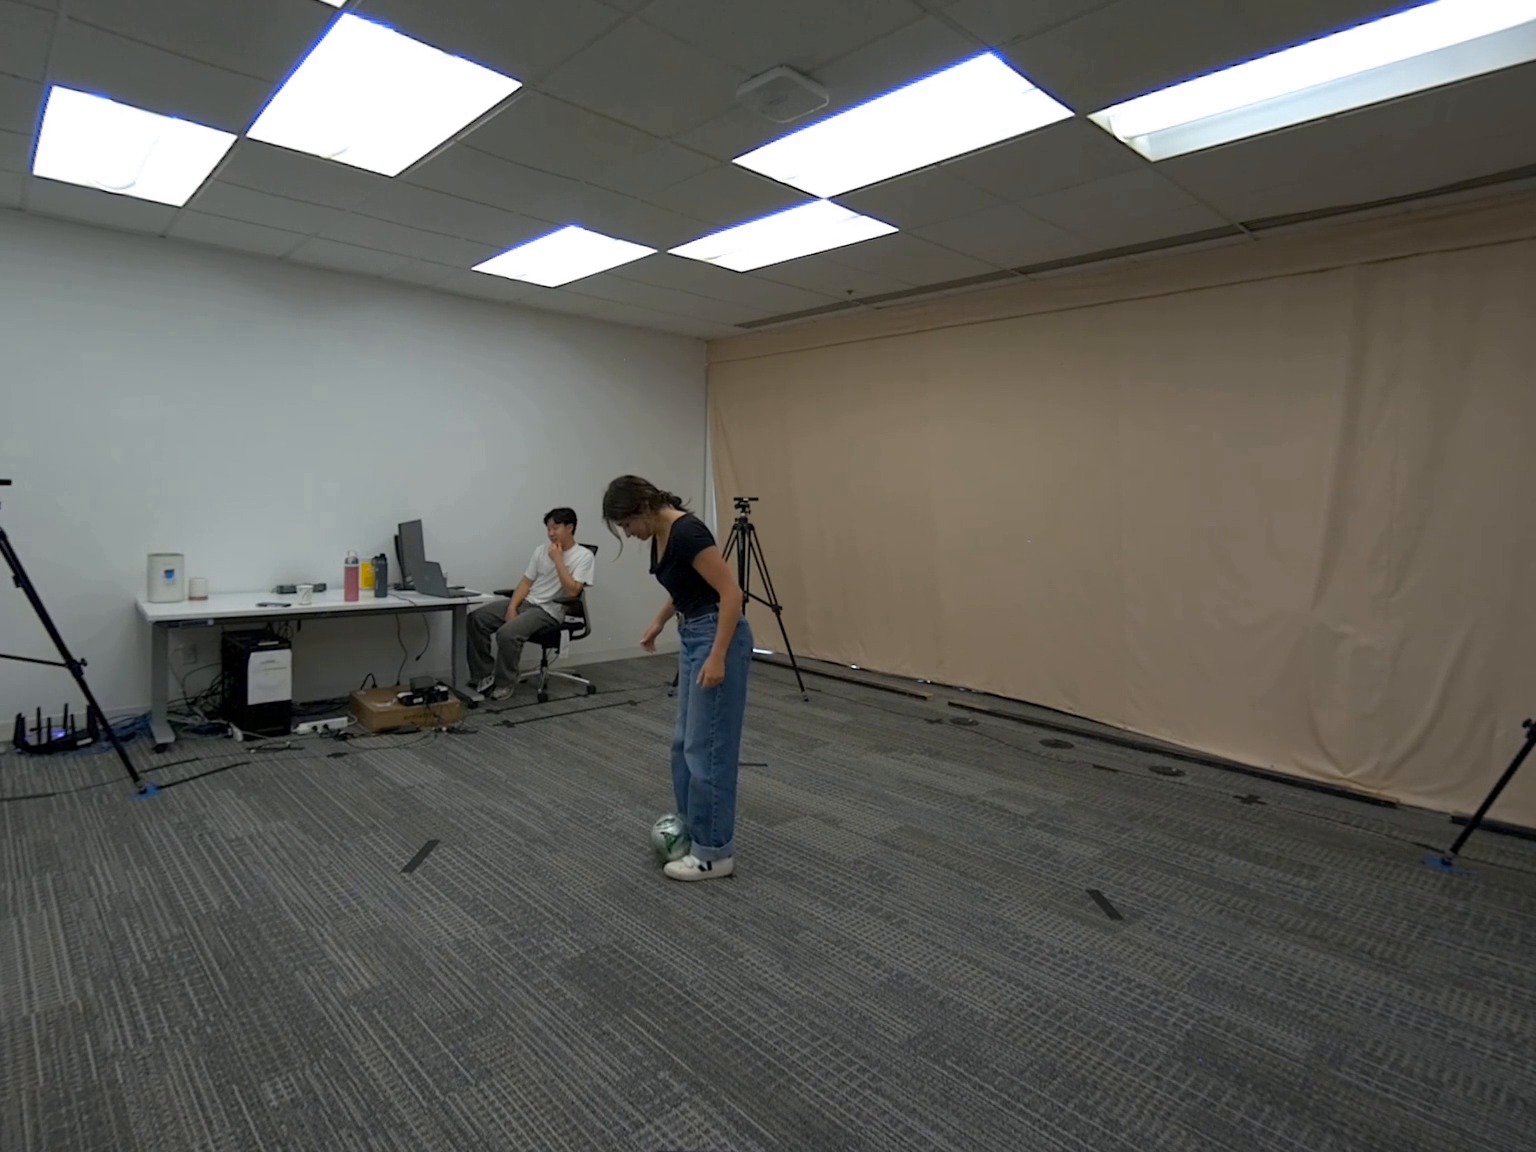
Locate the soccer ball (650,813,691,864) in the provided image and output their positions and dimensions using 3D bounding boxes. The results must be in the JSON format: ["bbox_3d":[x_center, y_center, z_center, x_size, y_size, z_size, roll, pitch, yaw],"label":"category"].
[{"bbox_3d":[-0.369,0.994,3.201,0.187,0.187,0.188,1,4,-1],"label":"soccer ball"}]
